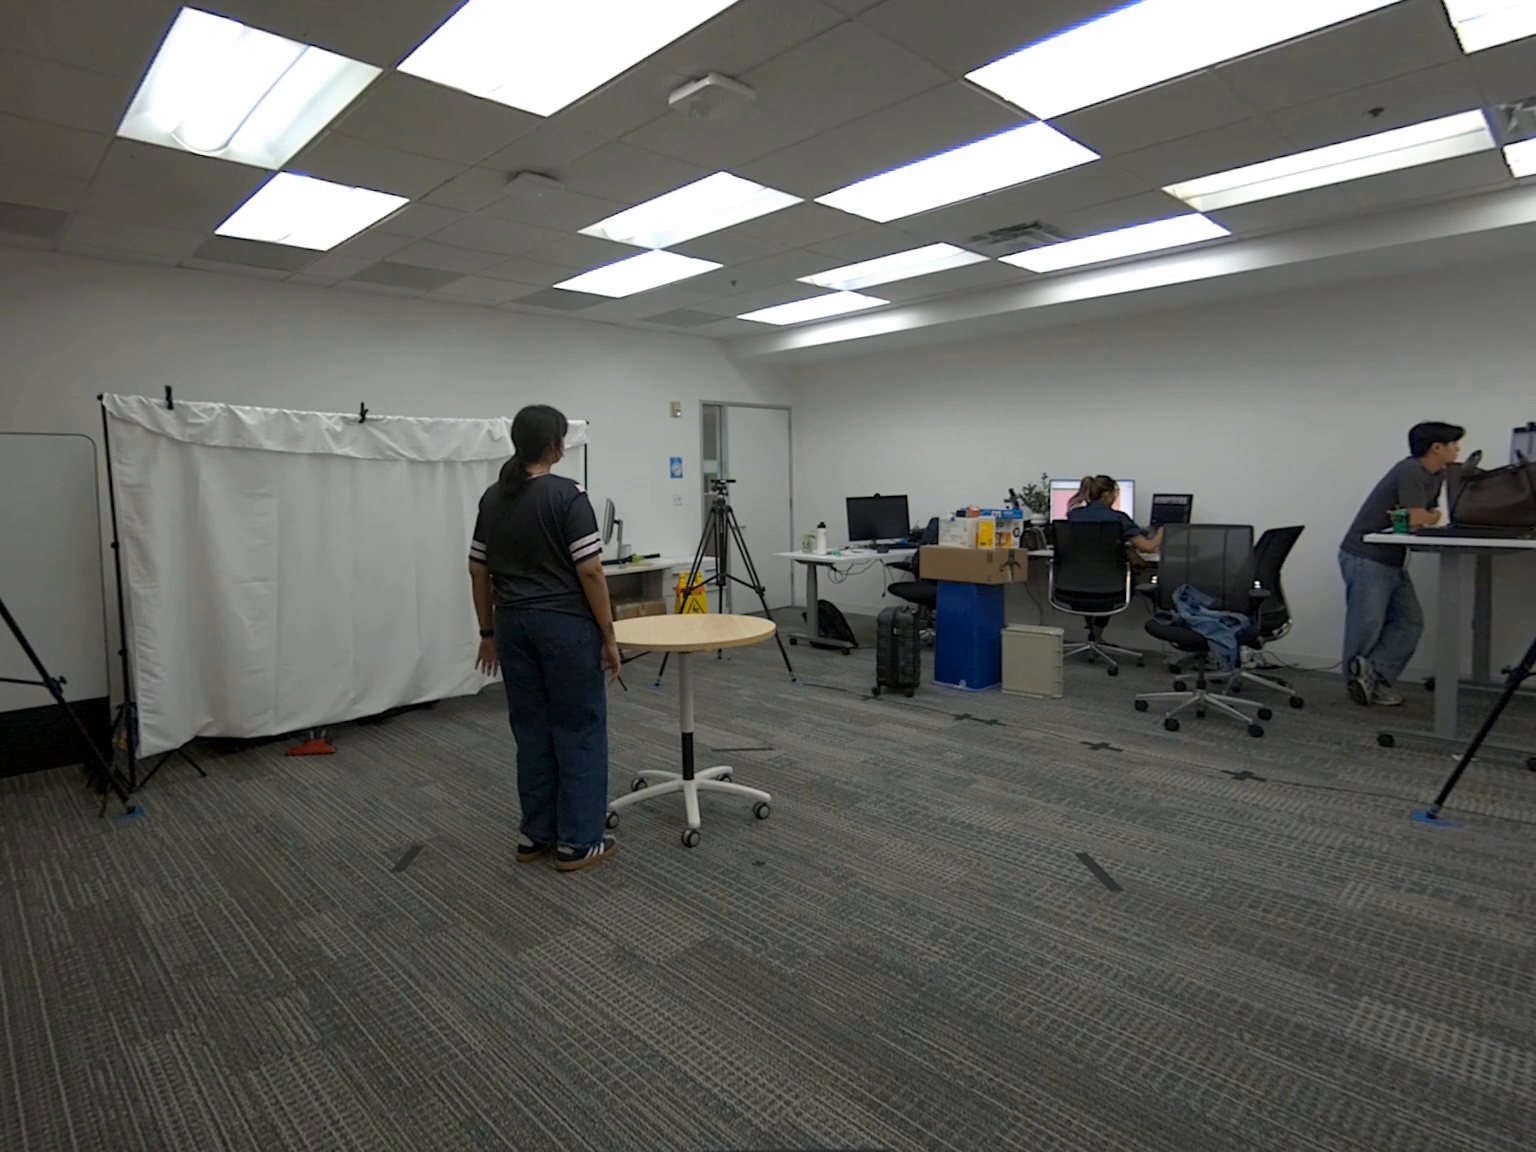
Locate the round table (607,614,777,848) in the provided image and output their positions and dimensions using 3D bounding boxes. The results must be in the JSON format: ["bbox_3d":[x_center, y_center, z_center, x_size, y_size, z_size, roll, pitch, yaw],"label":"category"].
[{"bbox_3d":[-0.336,0.610,3.599,0.763,0.791,0.767,-2,4,-2],"label":"round table"}]
